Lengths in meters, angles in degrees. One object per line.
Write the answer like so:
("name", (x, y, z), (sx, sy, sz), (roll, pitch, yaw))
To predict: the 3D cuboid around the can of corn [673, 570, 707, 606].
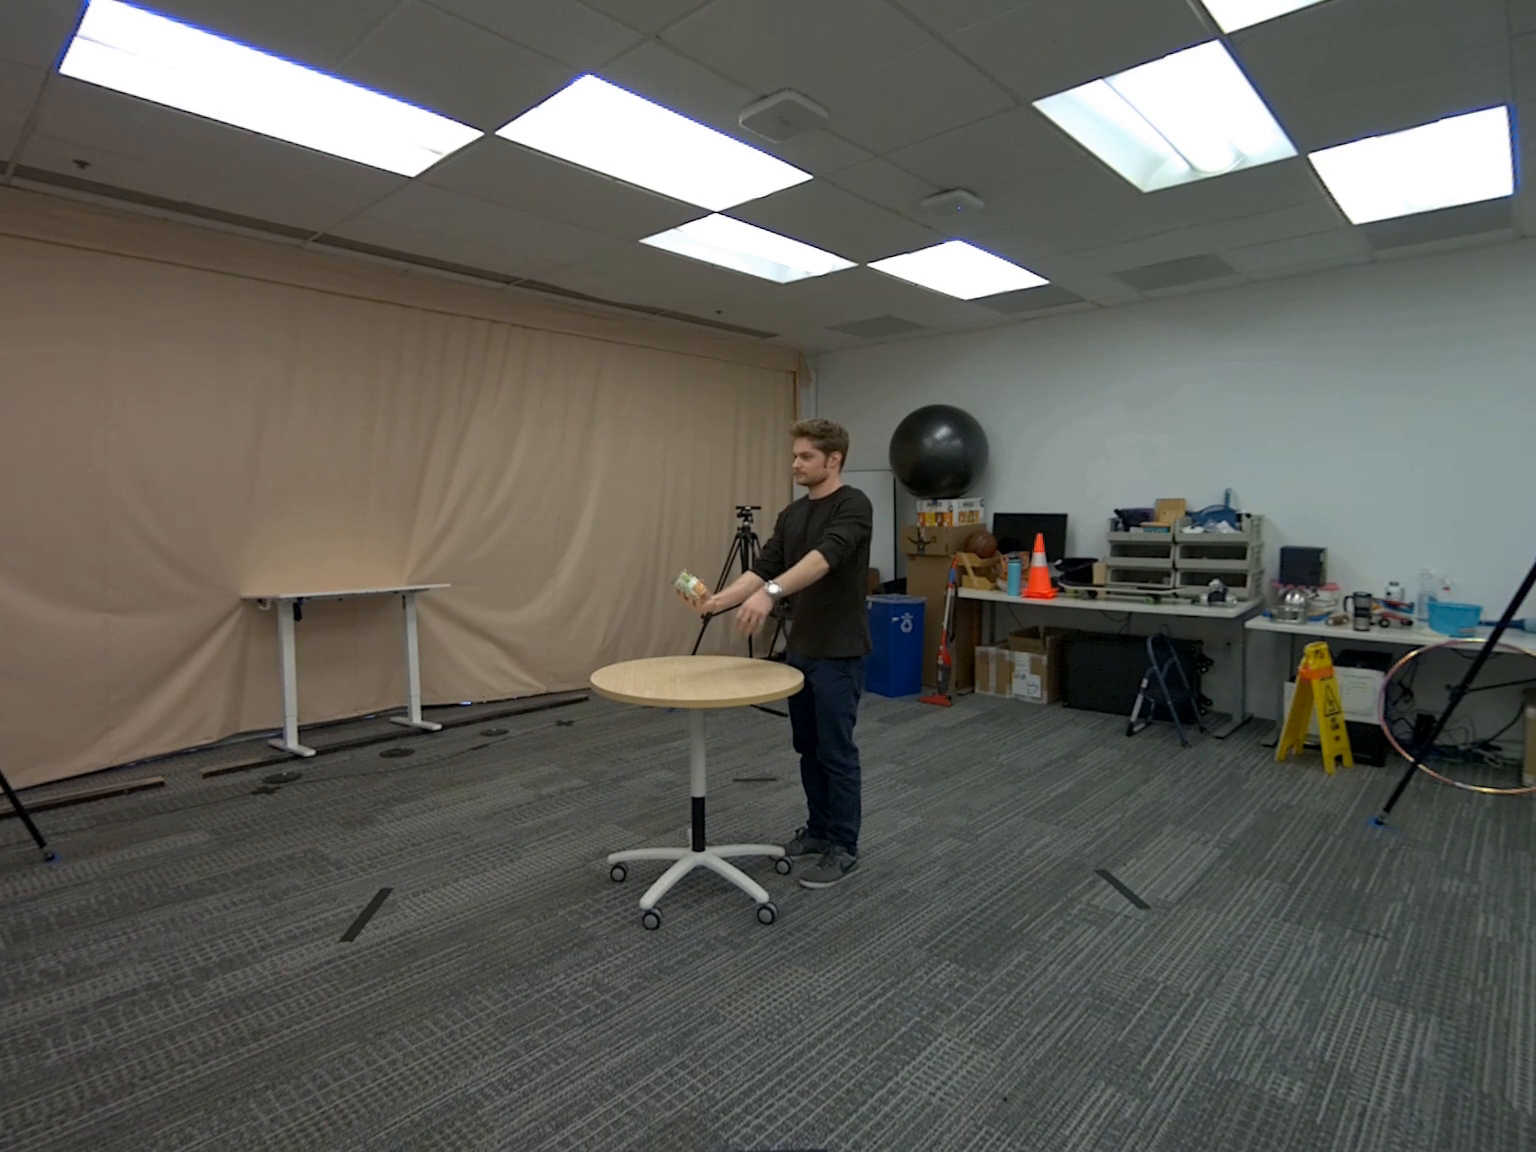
("can of corn", (-0.281, 0.039, 3.072), (0.110, 0.074, 0.074), (39, 0, -5))
